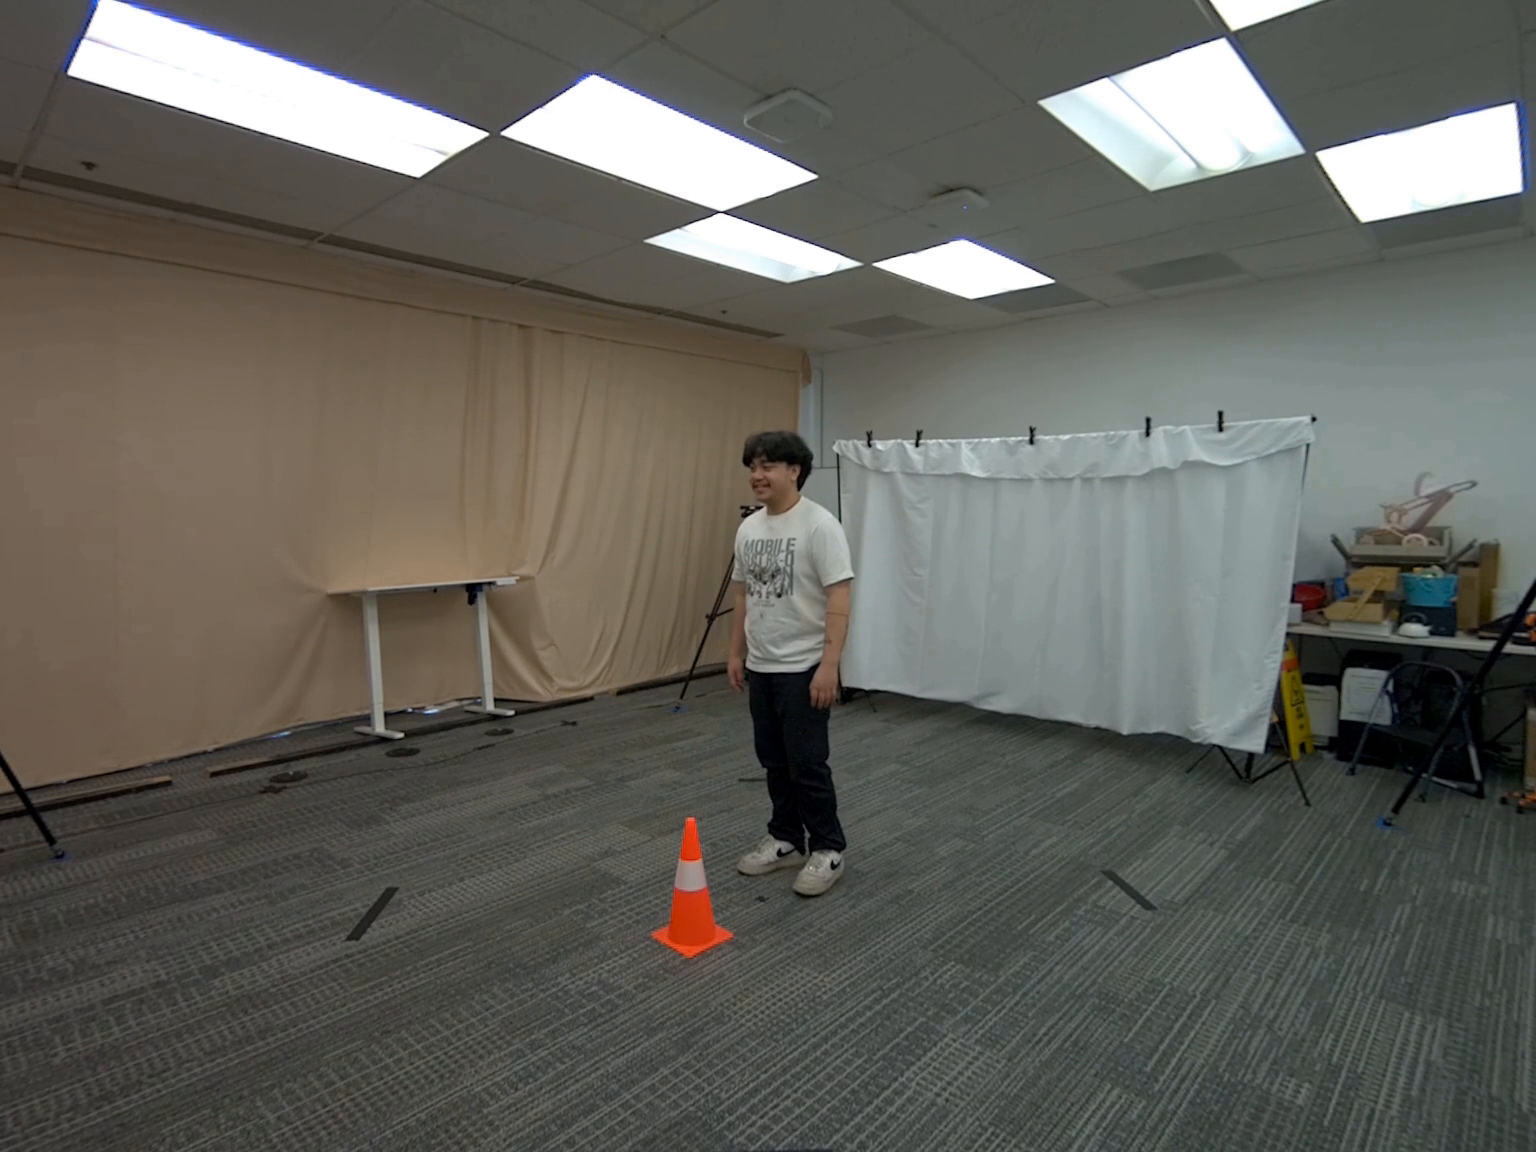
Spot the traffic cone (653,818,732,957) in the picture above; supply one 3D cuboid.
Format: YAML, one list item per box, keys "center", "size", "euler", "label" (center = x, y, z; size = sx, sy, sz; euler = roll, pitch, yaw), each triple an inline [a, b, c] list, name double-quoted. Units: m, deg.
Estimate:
- center: [-0.250, 0.978, 2.724]
  size: [0.197, 0.383, 0.212]
  euler: [-3, 3, -42]
  label: "traffic cone"
